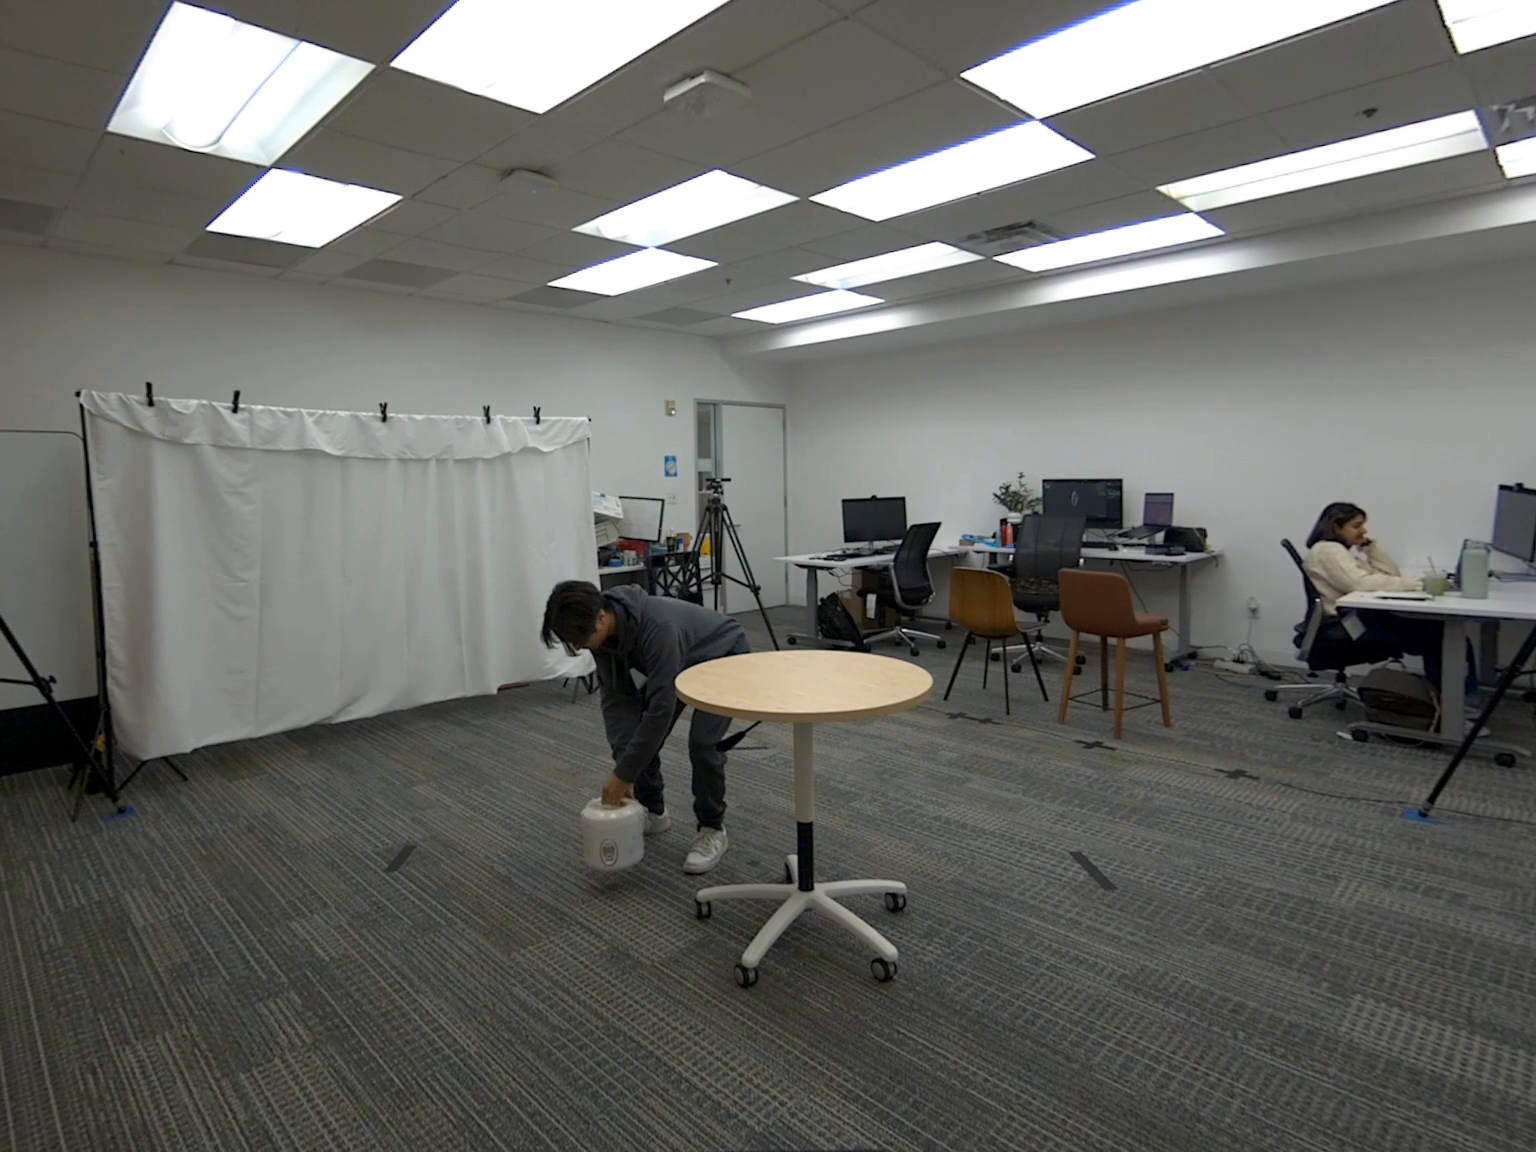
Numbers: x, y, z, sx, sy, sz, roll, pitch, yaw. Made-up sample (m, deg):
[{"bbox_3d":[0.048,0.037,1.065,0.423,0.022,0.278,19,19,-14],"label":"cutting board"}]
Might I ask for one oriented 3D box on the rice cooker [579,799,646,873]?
[{"bbox_3d":[-0.538,0.872,2.942,0.221,0.232,0.218,-5,3,1],"label":"rice cooker"}]
